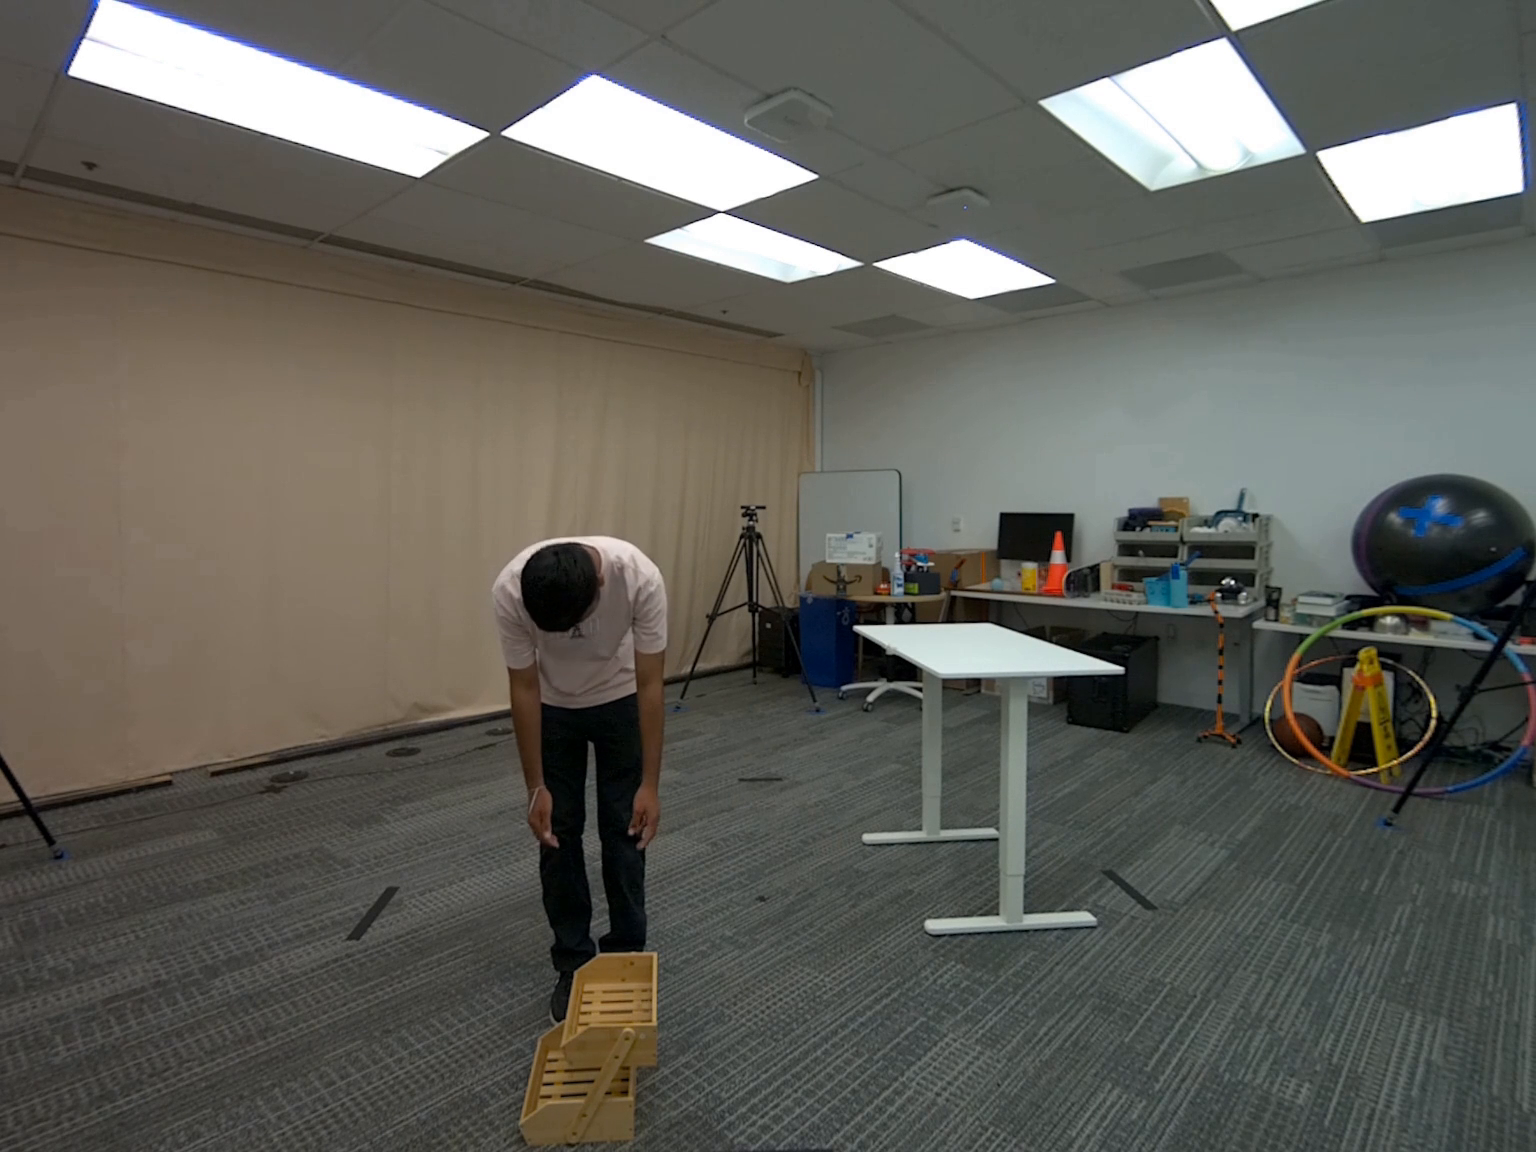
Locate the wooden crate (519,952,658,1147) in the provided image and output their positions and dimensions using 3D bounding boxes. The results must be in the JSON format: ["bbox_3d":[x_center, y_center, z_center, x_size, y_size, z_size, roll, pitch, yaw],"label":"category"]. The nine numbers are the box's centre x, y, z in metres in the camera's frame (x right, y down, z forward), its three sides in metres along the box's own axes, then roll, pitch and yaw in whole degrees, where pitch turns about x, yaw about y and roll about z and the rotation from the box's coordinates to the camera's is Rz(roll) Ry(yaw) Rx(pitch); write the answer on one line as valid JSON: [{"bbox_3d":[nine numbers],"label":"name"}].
[{"bbox_3d":[-0.414,1.097,1.980,0.300,0.273,0.327,1,3,-6],"label":"wooden crate"}]
